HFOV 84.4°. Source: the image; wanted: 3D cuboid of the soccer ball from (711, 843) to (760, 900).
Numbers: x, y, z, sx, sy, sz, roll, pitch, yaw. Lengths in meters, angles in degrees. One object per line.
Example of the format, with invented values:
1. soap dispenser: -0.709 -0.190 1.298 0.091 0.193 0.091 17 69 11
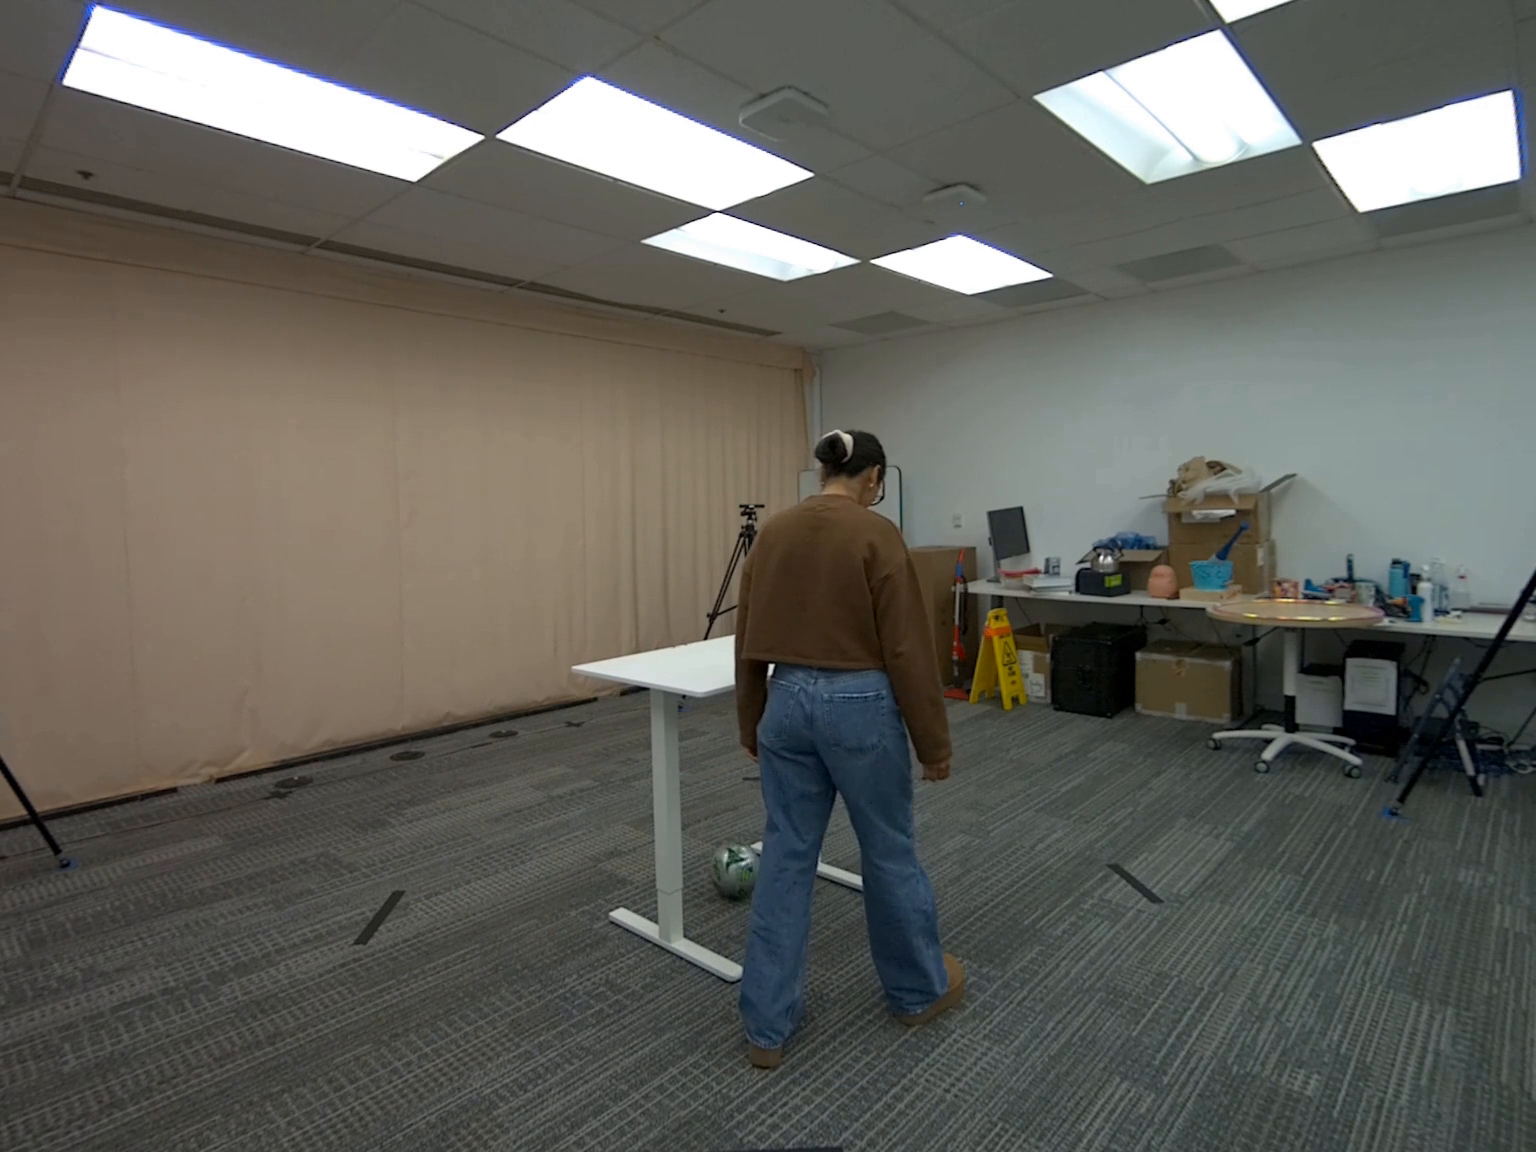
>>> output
1. soccer ball: -0.115 1.049 2.998 0.187 0.187 0.188 -1 4 -2
